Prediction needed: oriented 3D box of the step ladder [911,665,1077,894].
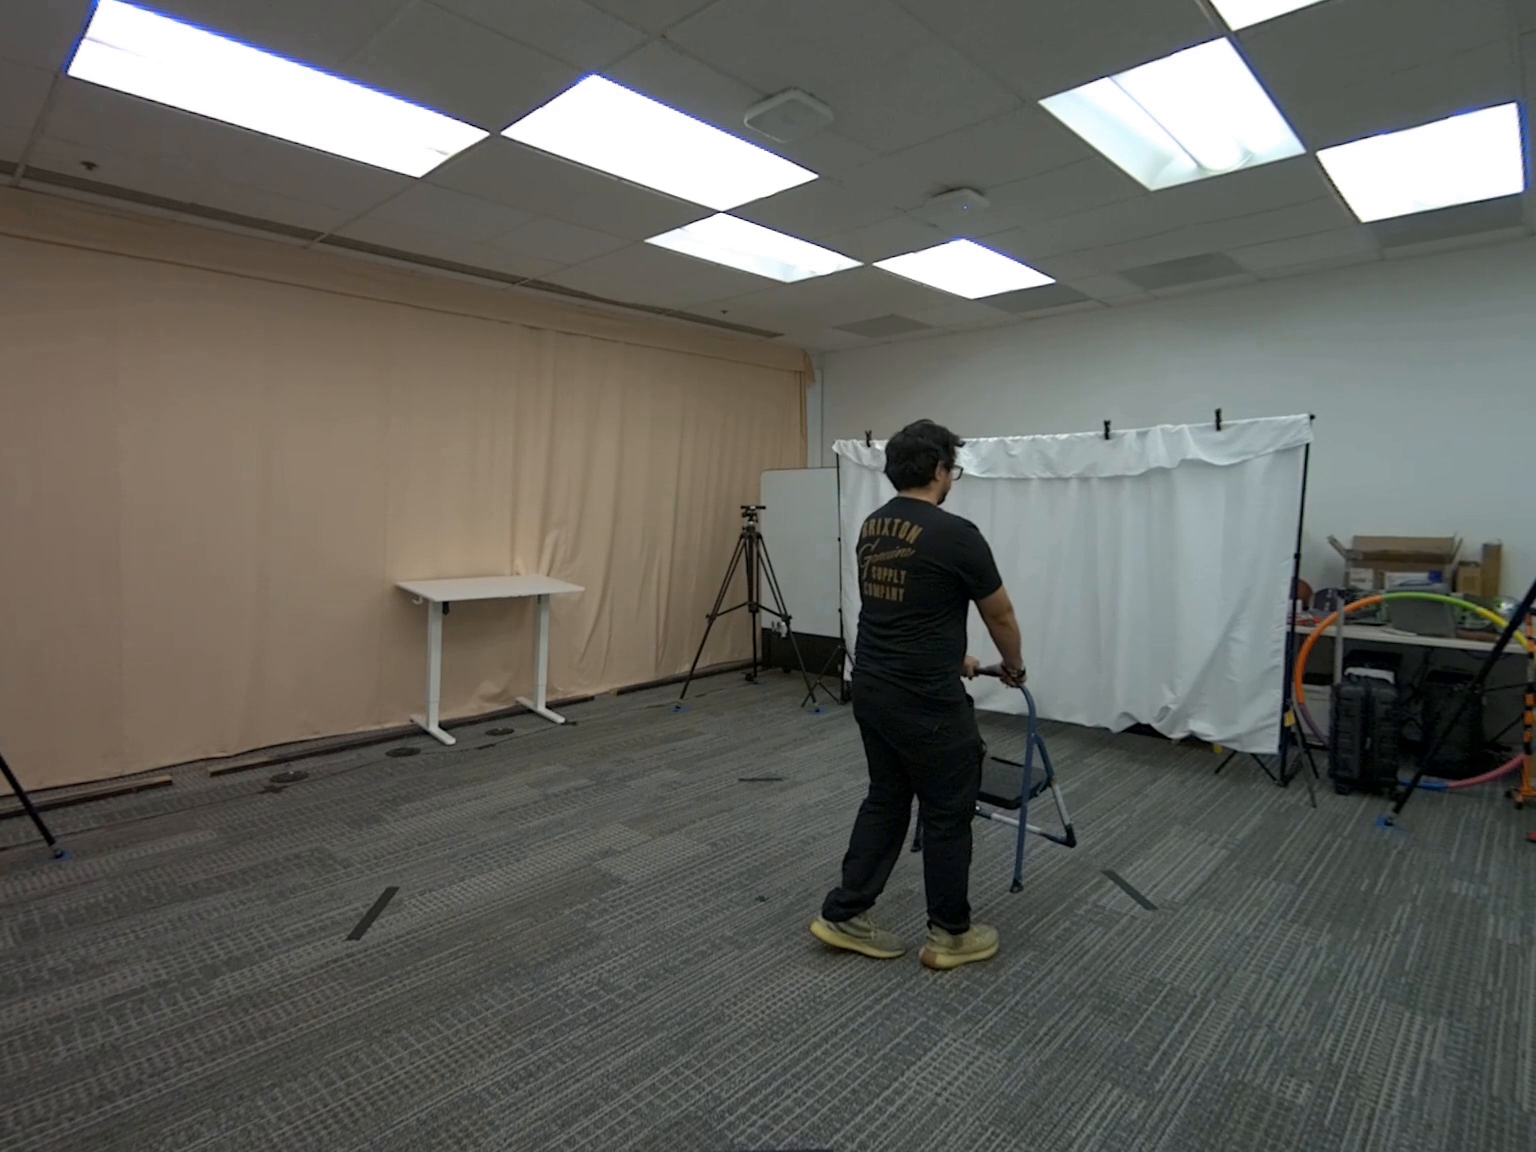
[{"bbox_3d":[0.724,0.627,2.788,0.341,0.602,0.444,-16,11,-36],"label":"step ladder"}]
